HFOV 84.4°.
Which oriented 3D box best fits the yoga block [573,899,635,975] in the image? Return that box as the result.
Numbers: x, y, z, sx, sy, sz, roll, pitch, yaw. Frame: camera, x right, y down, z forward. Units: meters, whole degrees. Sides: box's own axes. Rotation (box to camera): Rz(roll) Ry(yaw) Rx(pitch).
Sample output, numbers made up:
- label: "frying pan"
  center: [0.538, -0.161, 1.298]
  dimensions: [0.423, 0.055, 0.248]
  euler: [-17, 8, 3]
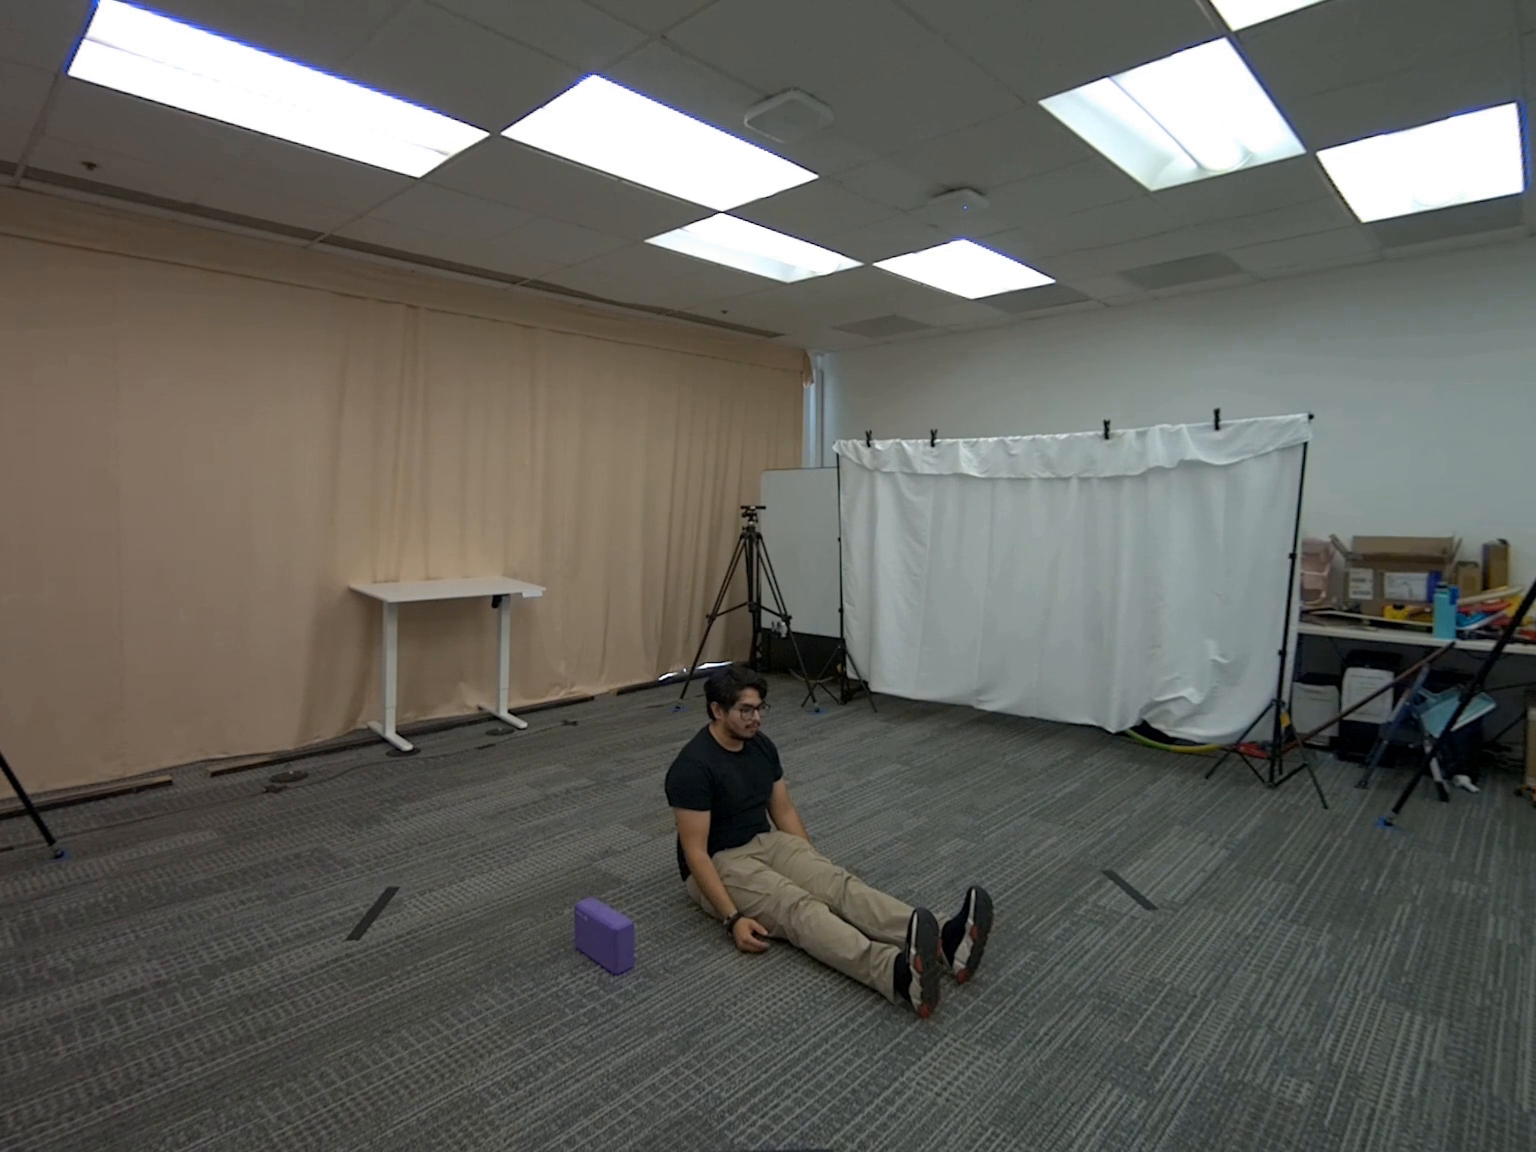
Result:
- label: "yoga block"
  center: [-0.506, 1.104, 2.590]
  dimensions: [0.074, 0.149, 0.237]
  euler: [-2, 4, -43]
